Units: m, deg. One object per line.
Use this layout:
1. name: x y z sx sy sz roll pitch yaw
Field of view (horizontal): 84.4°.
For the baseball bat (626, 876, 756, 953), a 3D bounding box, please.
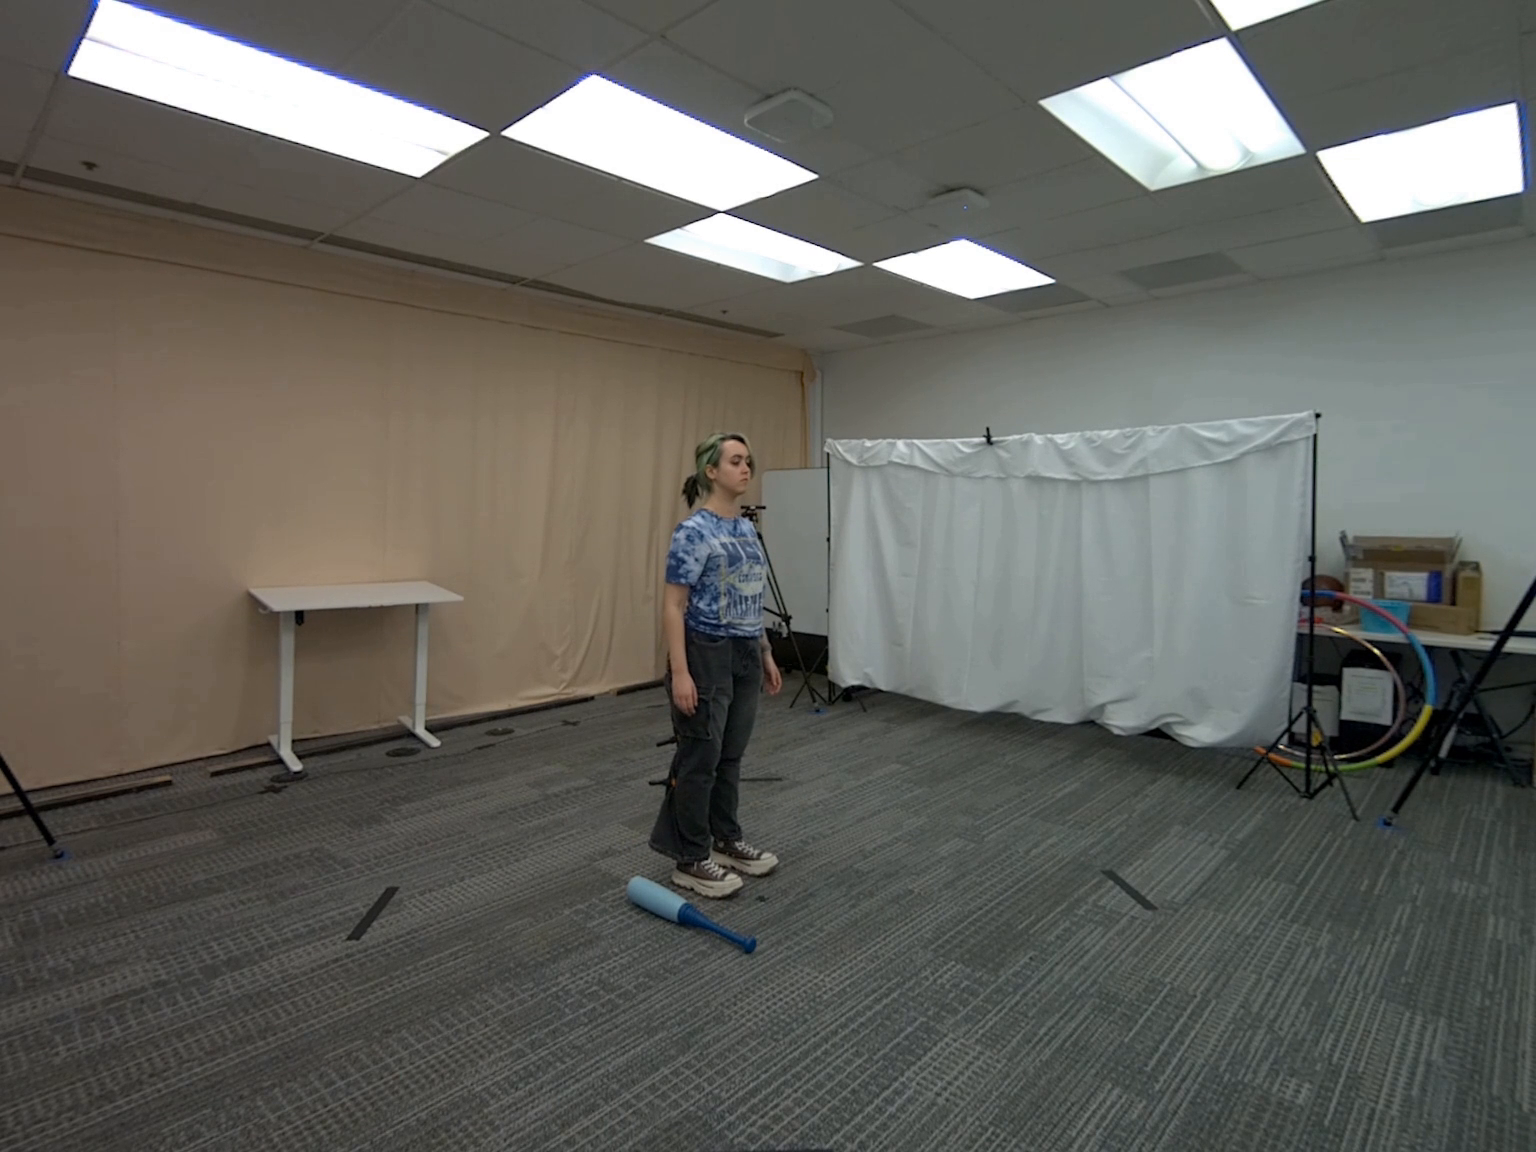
1. baseball bat: -0.264 1.125 2.792 0.561 0.089 0.086 8 8 39
